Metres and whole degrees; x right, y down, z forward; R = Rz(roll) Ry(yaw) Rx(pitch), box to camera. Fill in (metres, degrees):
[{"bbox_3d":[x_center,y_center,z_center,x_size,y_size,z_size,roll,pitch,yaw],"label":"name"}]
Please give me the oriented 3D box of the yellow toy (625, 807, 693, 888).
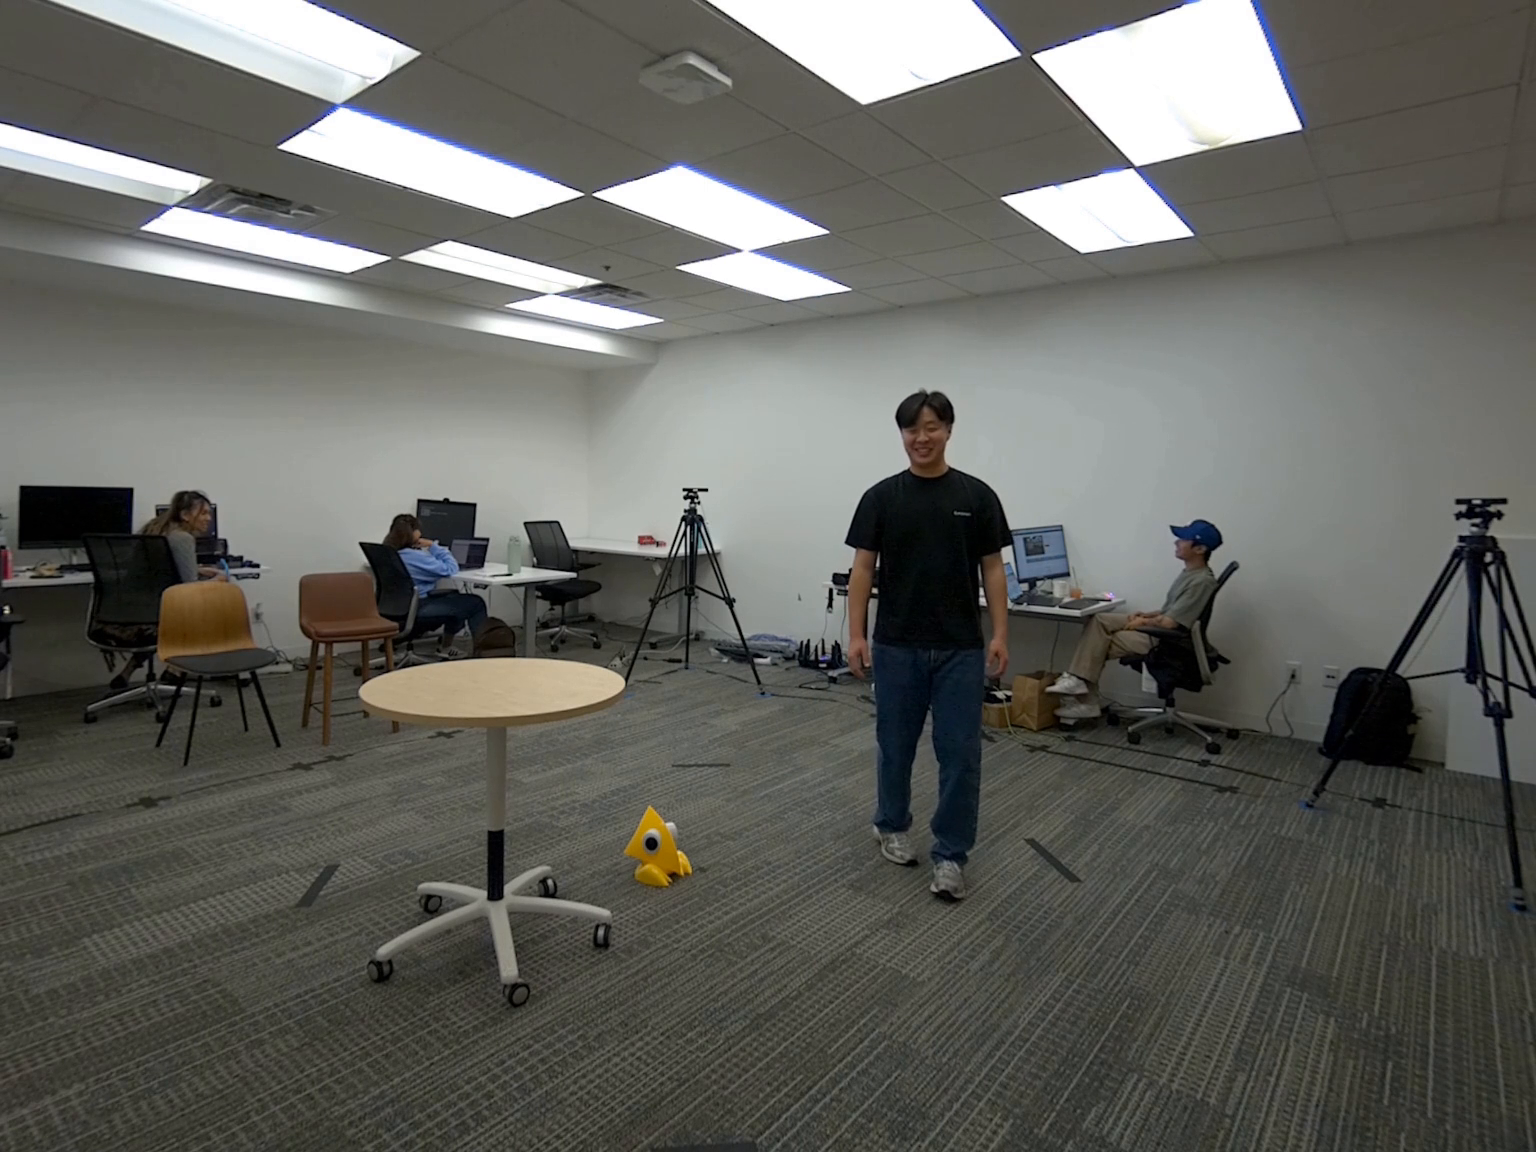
[{"bbox_3d":[-0.394,0.958,3.075,0.199,0.230,0.199,4,4,38],"label":"yellow toy"}]
